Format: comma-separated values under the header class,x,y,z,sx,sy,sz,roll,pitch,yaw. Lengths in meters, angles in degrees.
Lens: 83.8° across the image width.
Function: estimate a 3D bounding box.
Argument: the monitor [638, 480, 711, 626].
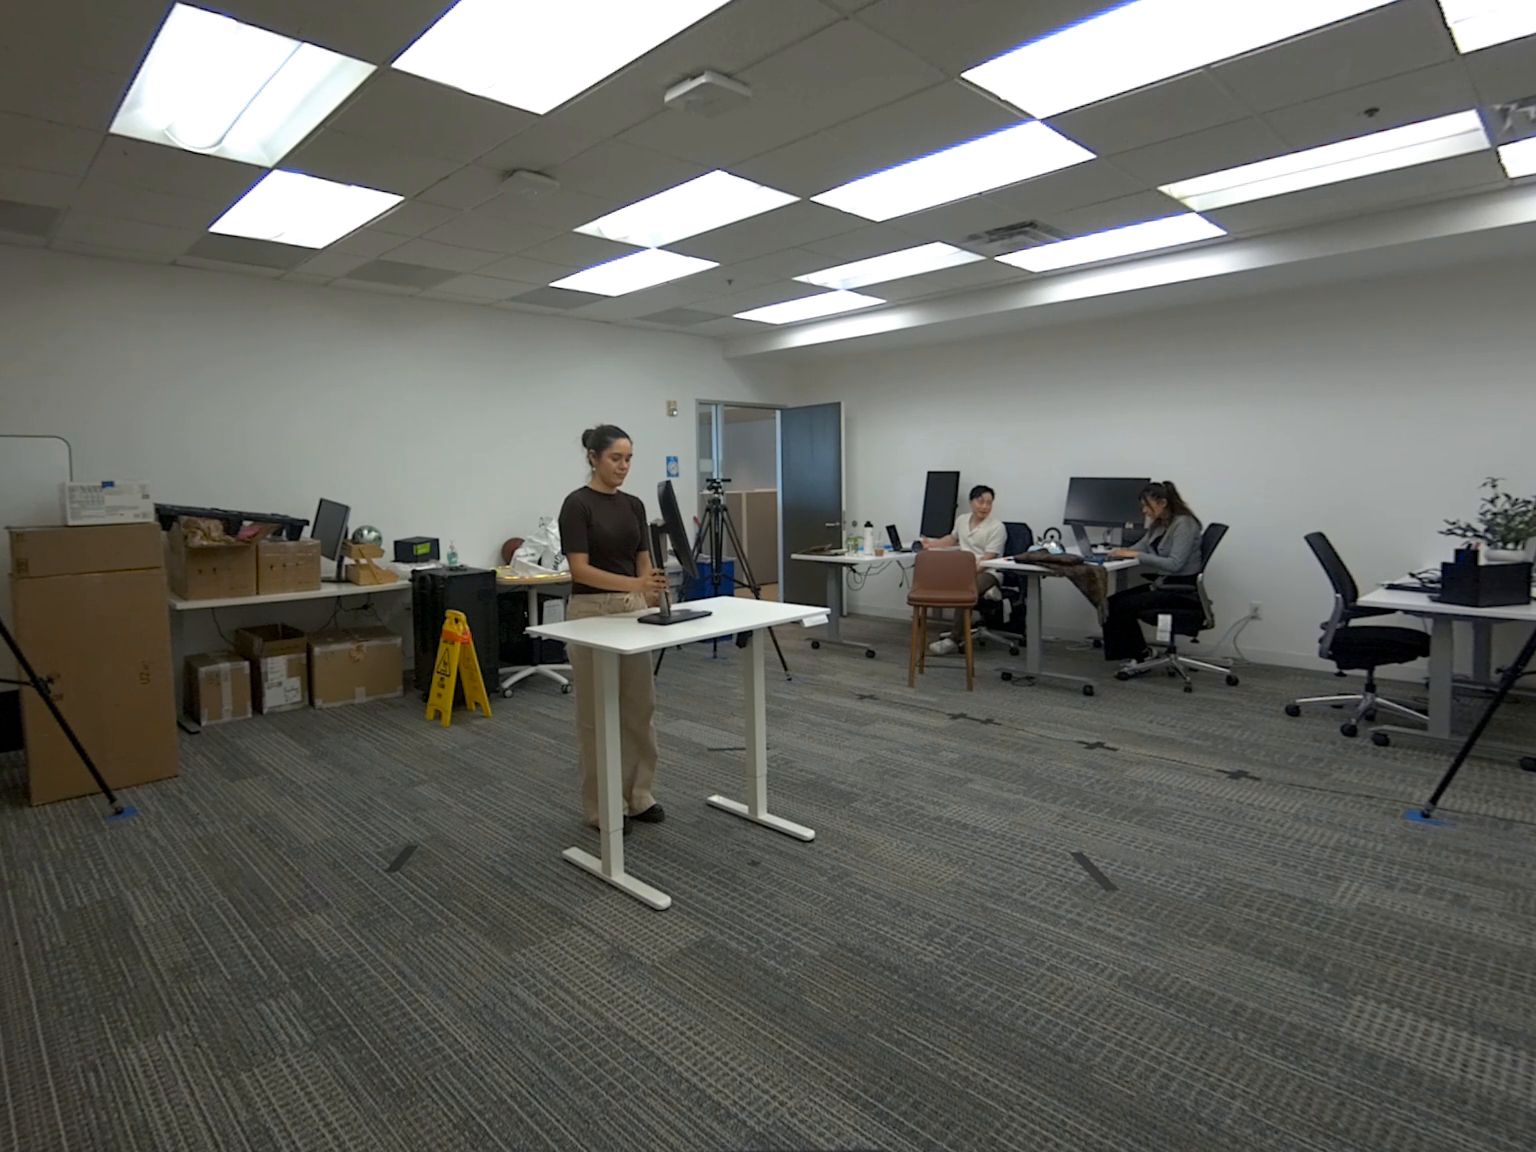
class,x,y,z,sx,sy,sz,roll,pitch,yaw
monitor,-0.358,-0.095,3.184,0.185,0.521,0.545,-7,4,-11
